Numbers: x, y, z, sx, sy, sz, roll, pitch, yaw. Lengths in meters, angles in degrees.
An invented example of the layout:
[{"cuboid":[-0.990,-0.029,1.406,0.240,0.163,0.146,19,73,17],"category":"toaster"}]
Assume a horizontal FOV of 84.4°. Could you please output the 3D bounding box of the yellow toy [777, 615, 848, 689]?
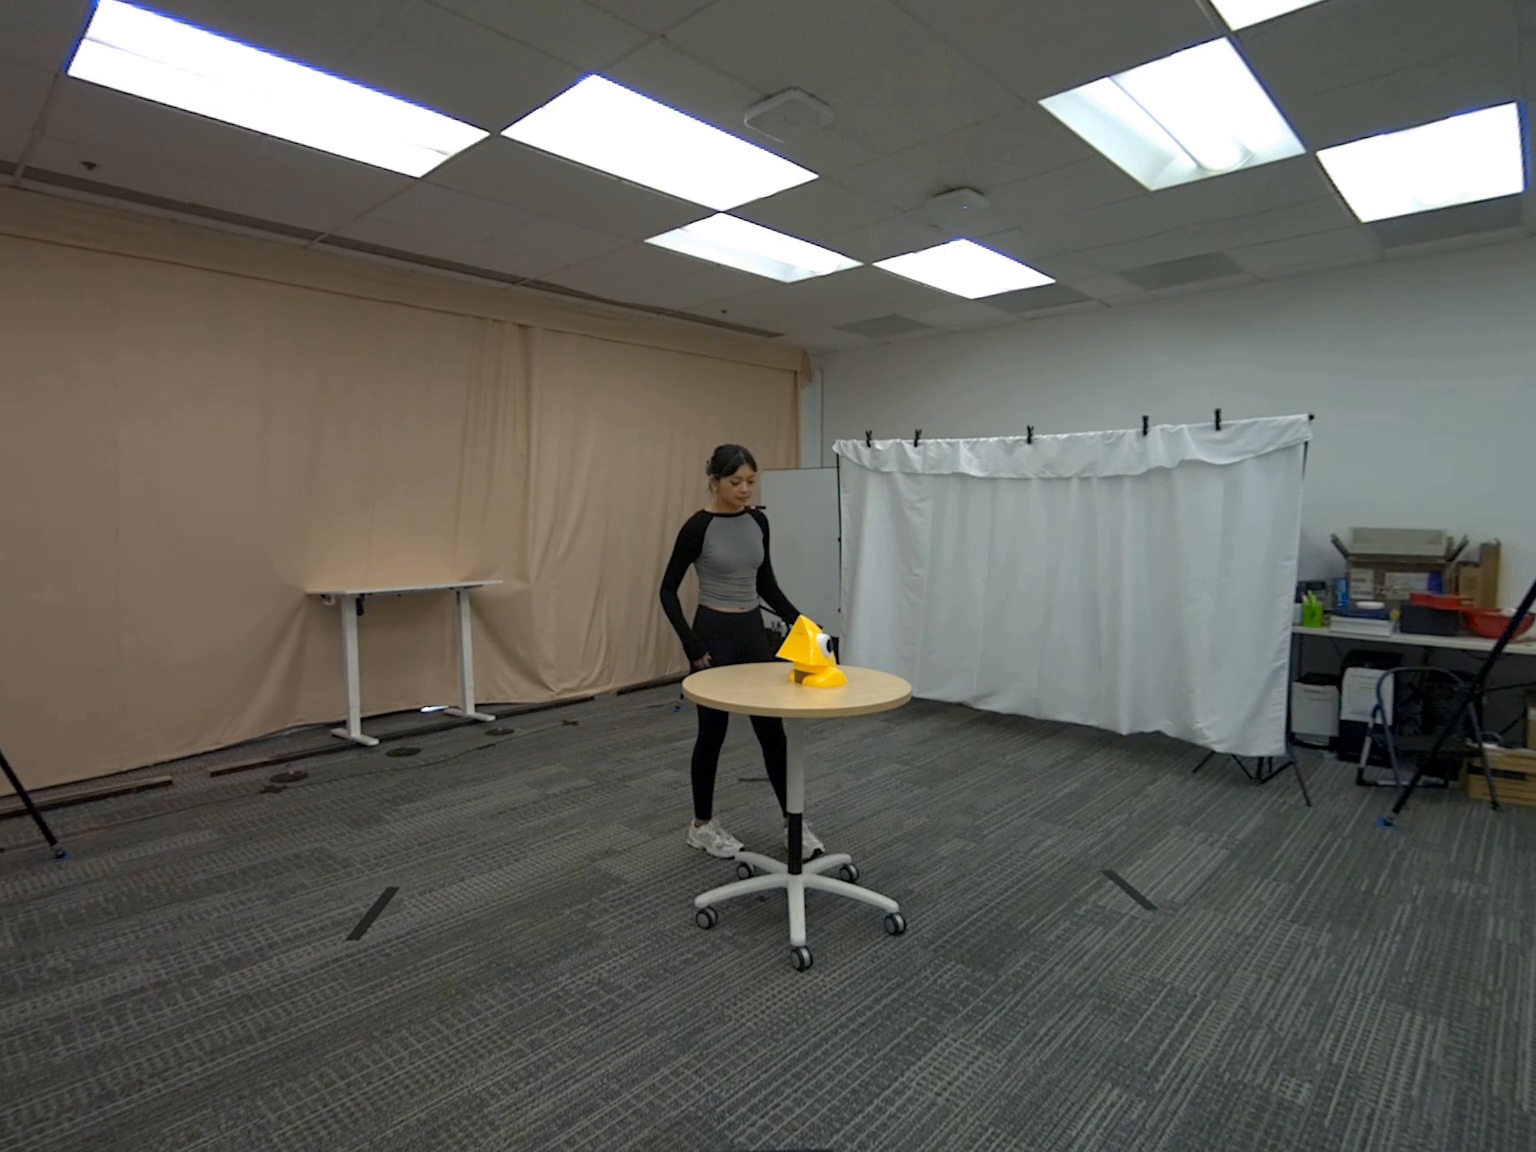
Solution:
[{"cuboid":[0.164,0.247,2.869,0.188,0.230,0.211,0,3,-32],"category":"yellow toy"}]
